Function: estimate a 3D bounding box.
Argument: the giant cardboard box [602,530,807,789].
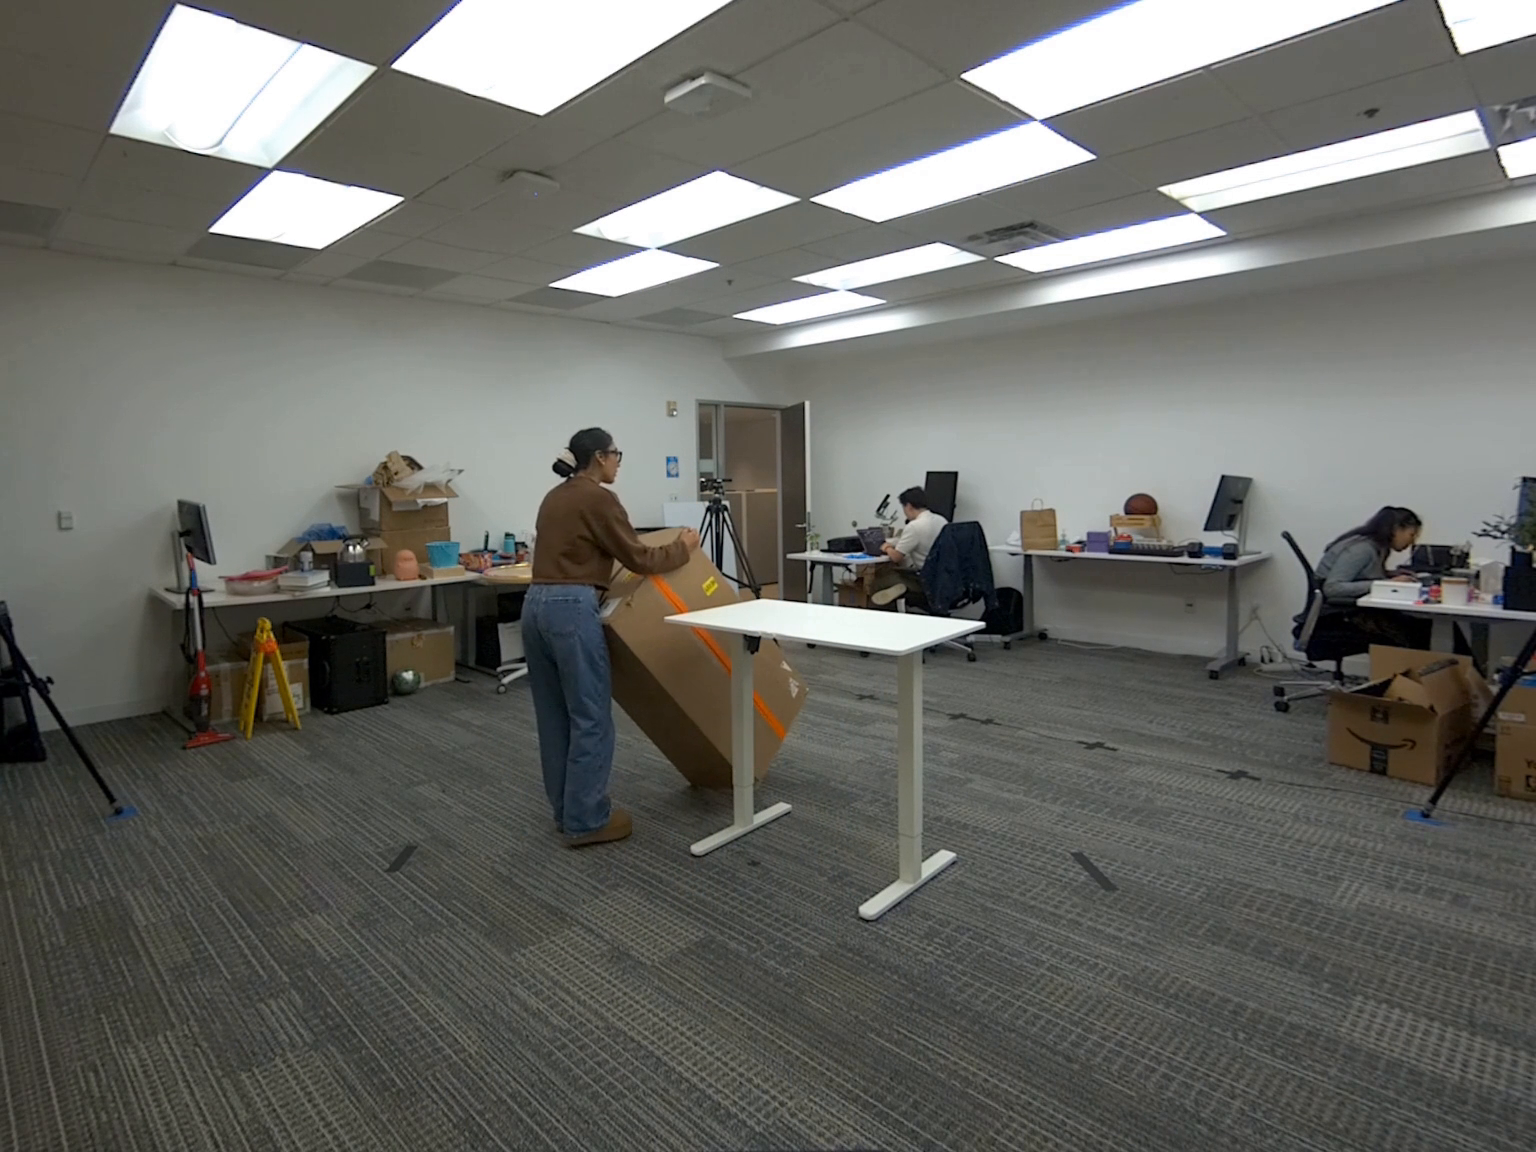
[{"bbox_3d":[-0.349,0.382,3.764,0.436,0.998,0.580,-11,34,45],"label":"giant cardboard box"}]
